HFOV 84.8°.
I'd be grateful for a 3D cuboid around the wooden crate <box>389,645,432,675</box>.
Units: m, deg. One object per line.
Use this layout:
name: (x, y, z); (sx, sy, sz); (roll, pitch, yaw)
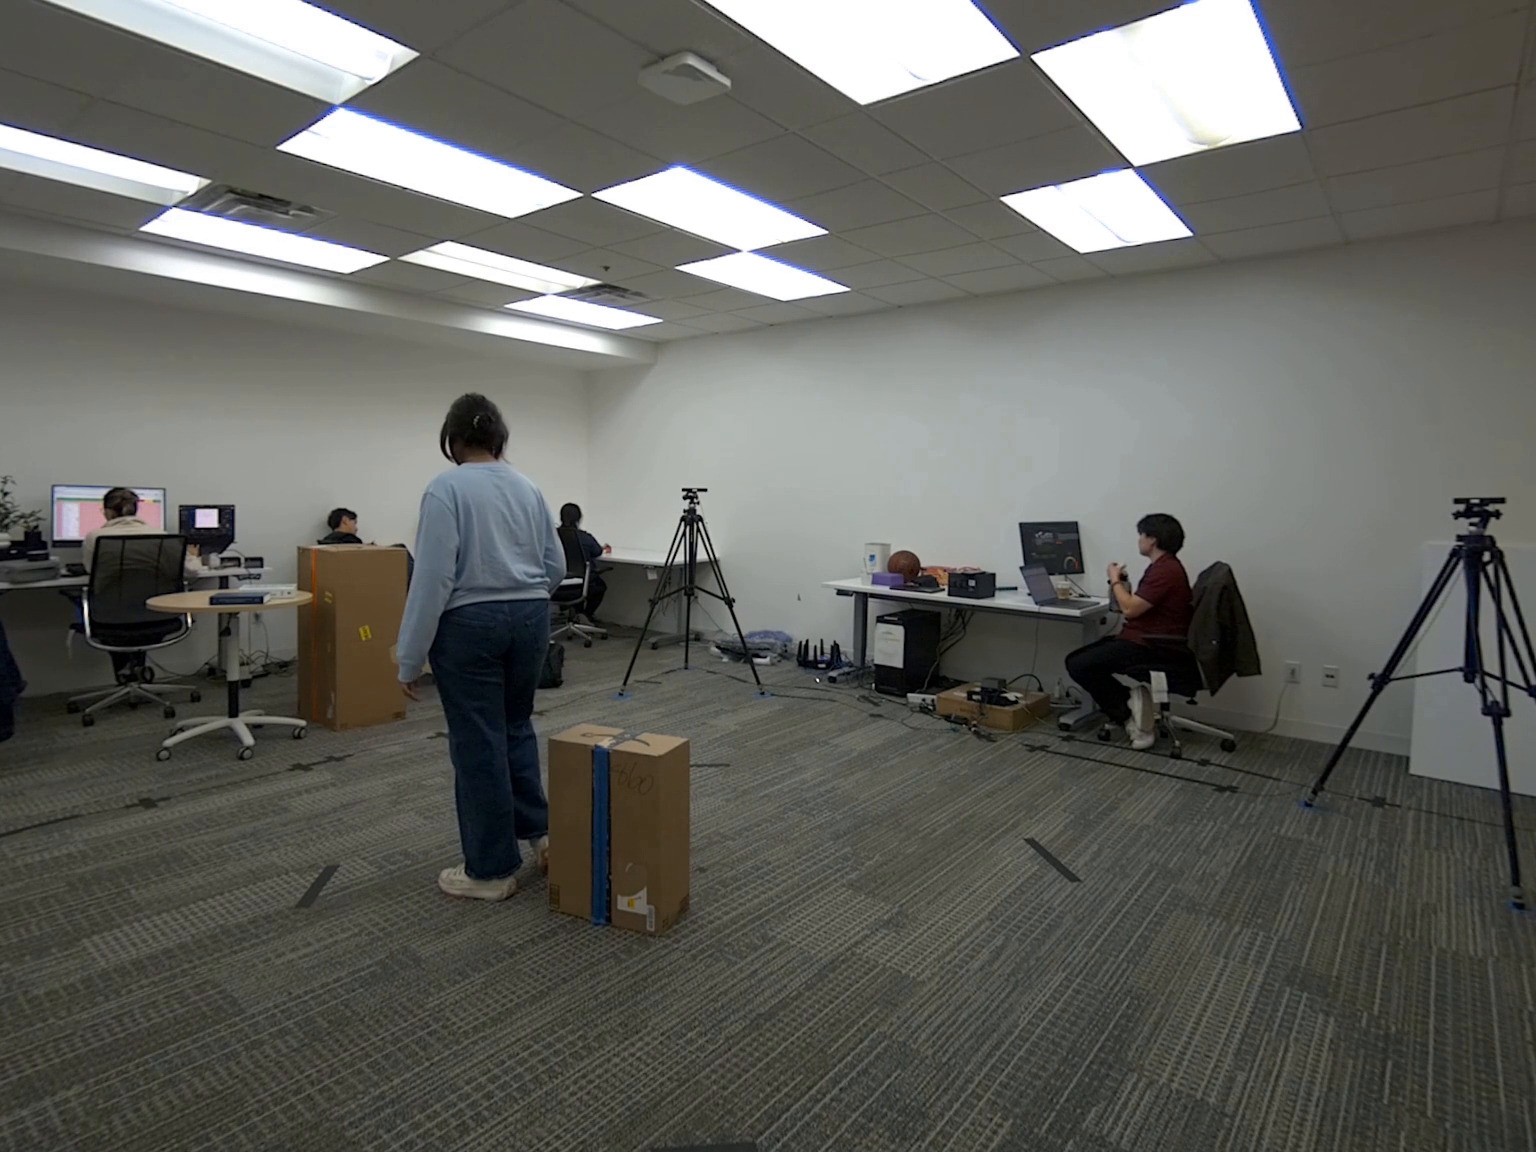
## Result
wooden crate: (-1.197, 0.196, 3.193); (0.311, 0.272, 0.317); (10, 7, 25)
